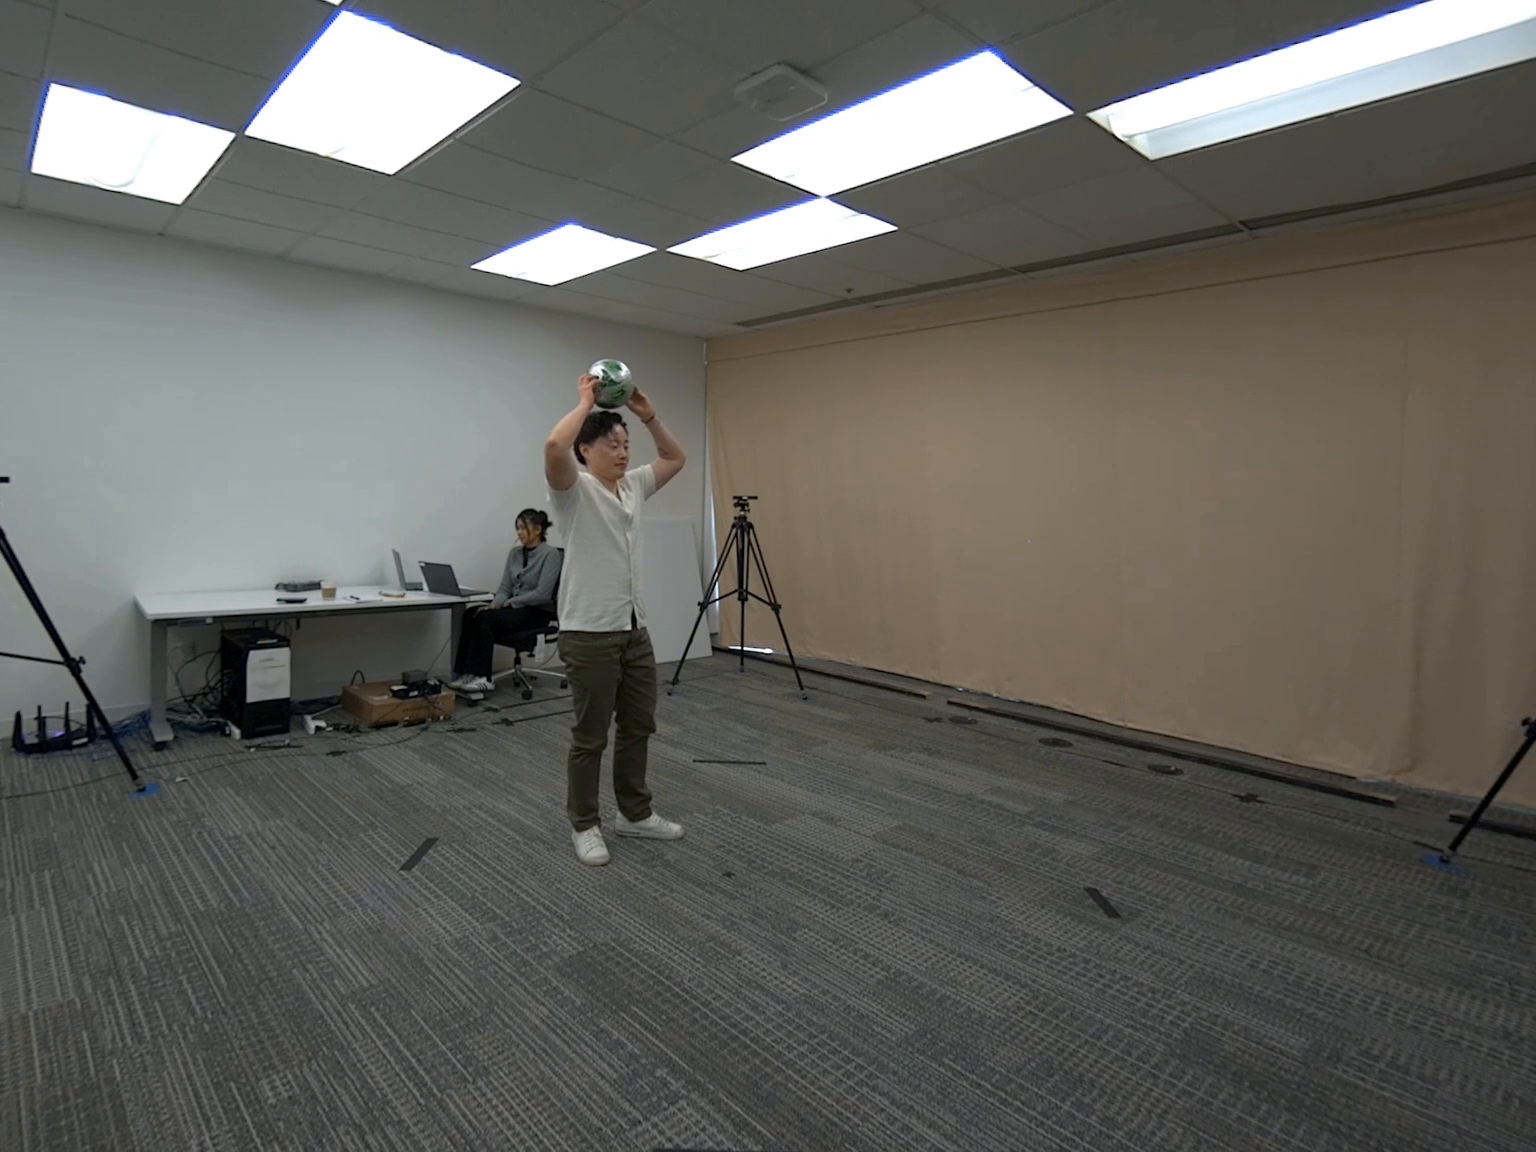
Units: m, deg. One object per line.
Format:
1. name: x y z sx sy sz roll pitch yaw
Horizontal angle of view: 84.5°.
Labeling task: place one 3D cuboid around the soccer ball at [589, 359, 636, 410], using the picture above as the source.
1. soccer ball: -0.614 -0.717 3.177 0.187 0.187 0.188 1 4 -1
